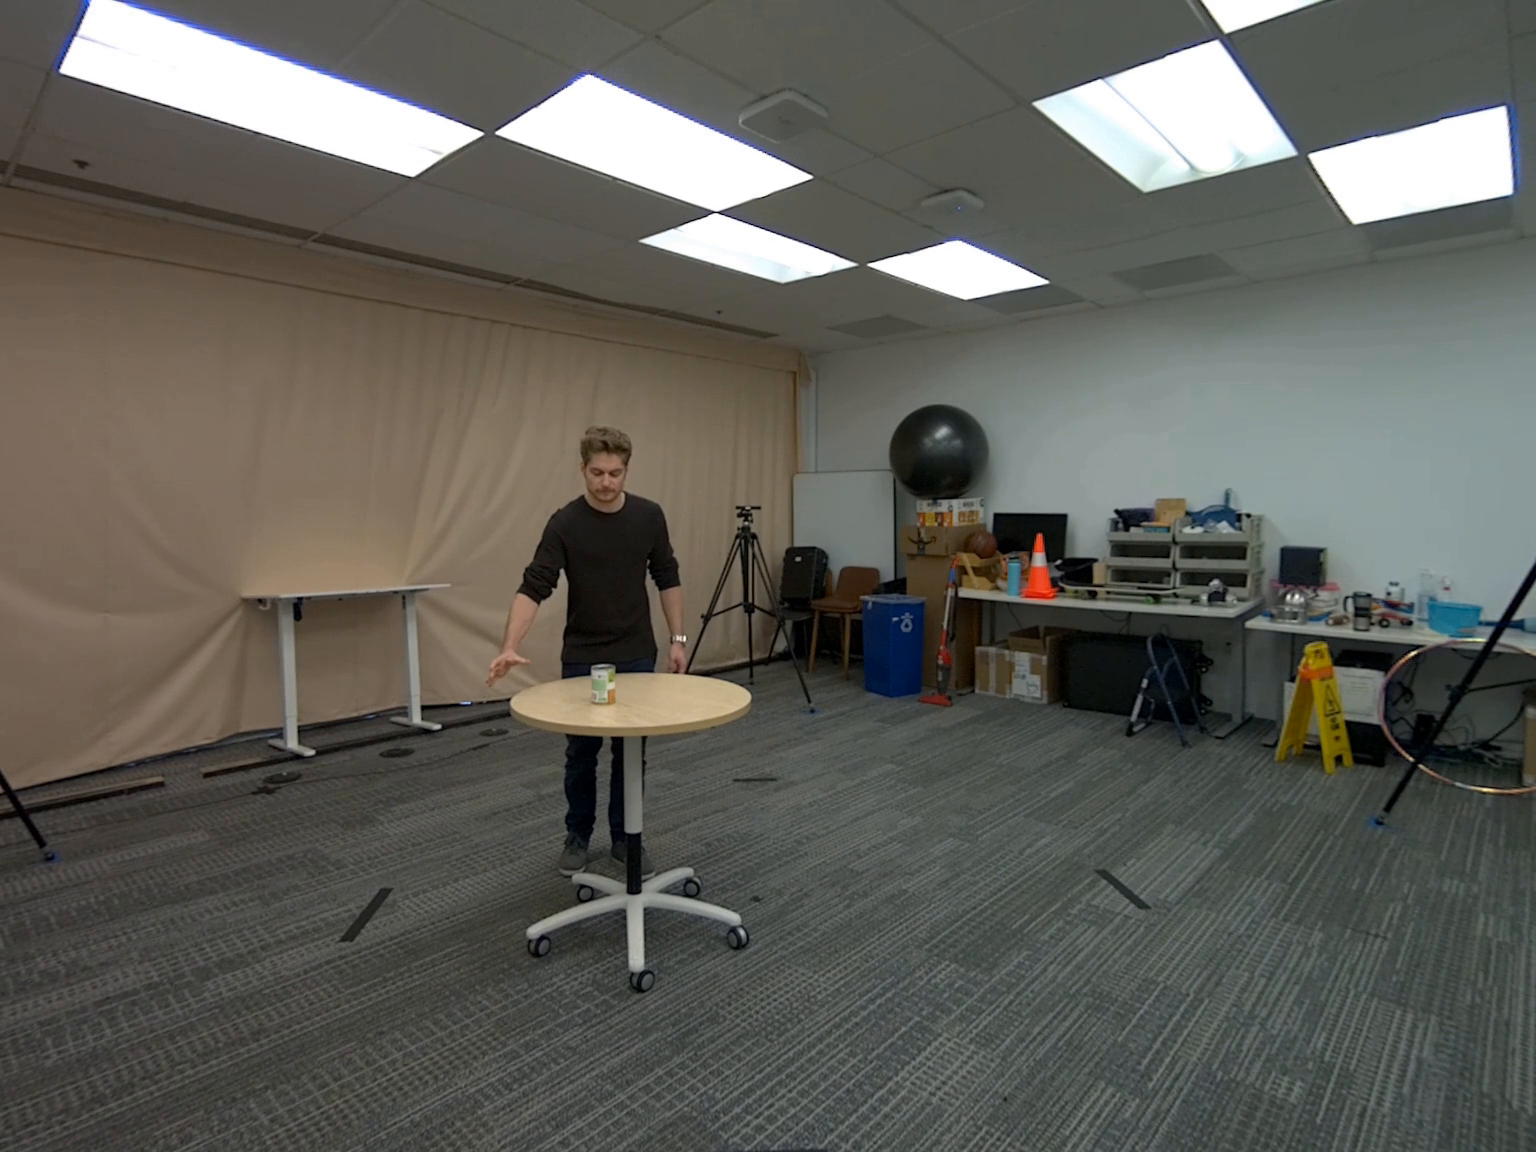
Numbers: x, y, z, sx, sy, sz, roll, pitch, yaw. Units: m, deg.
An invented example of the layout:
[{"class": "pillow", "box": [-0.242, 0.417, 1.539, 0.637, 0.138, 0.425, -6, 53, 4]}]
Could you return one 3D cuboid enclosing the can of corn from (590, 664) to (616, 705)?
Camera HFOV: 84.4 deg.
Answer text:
[{"class": "can of corn", "box": [-0.519, 0.336, 2.619, 0.074, 0.111, 0.074, -3, 3, -2]}]
